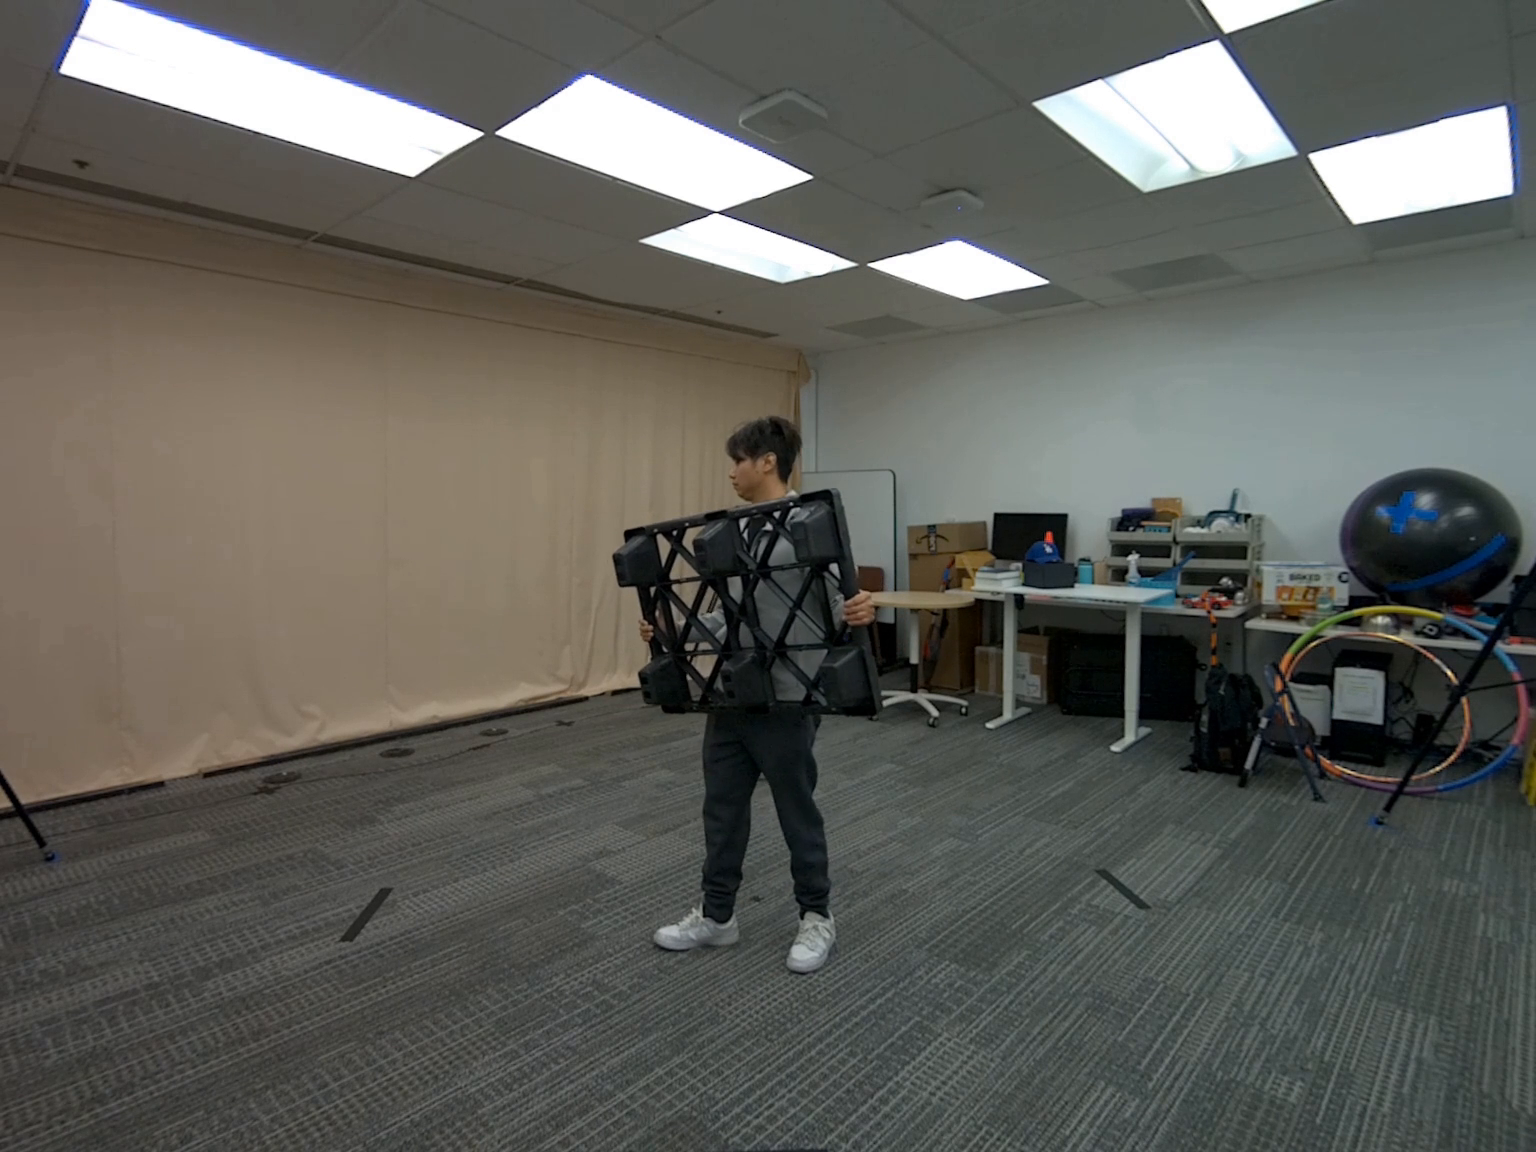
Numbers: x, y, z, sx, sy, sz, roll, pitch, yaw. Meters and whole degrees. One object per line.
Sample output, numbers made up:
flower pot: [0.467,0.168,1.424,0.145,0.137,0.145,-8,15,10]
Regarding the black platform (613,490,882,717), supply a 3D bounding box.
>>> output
black platform: [-0.109,0.115,2.389,0.829,0.604,0.139,-8,3,41]
